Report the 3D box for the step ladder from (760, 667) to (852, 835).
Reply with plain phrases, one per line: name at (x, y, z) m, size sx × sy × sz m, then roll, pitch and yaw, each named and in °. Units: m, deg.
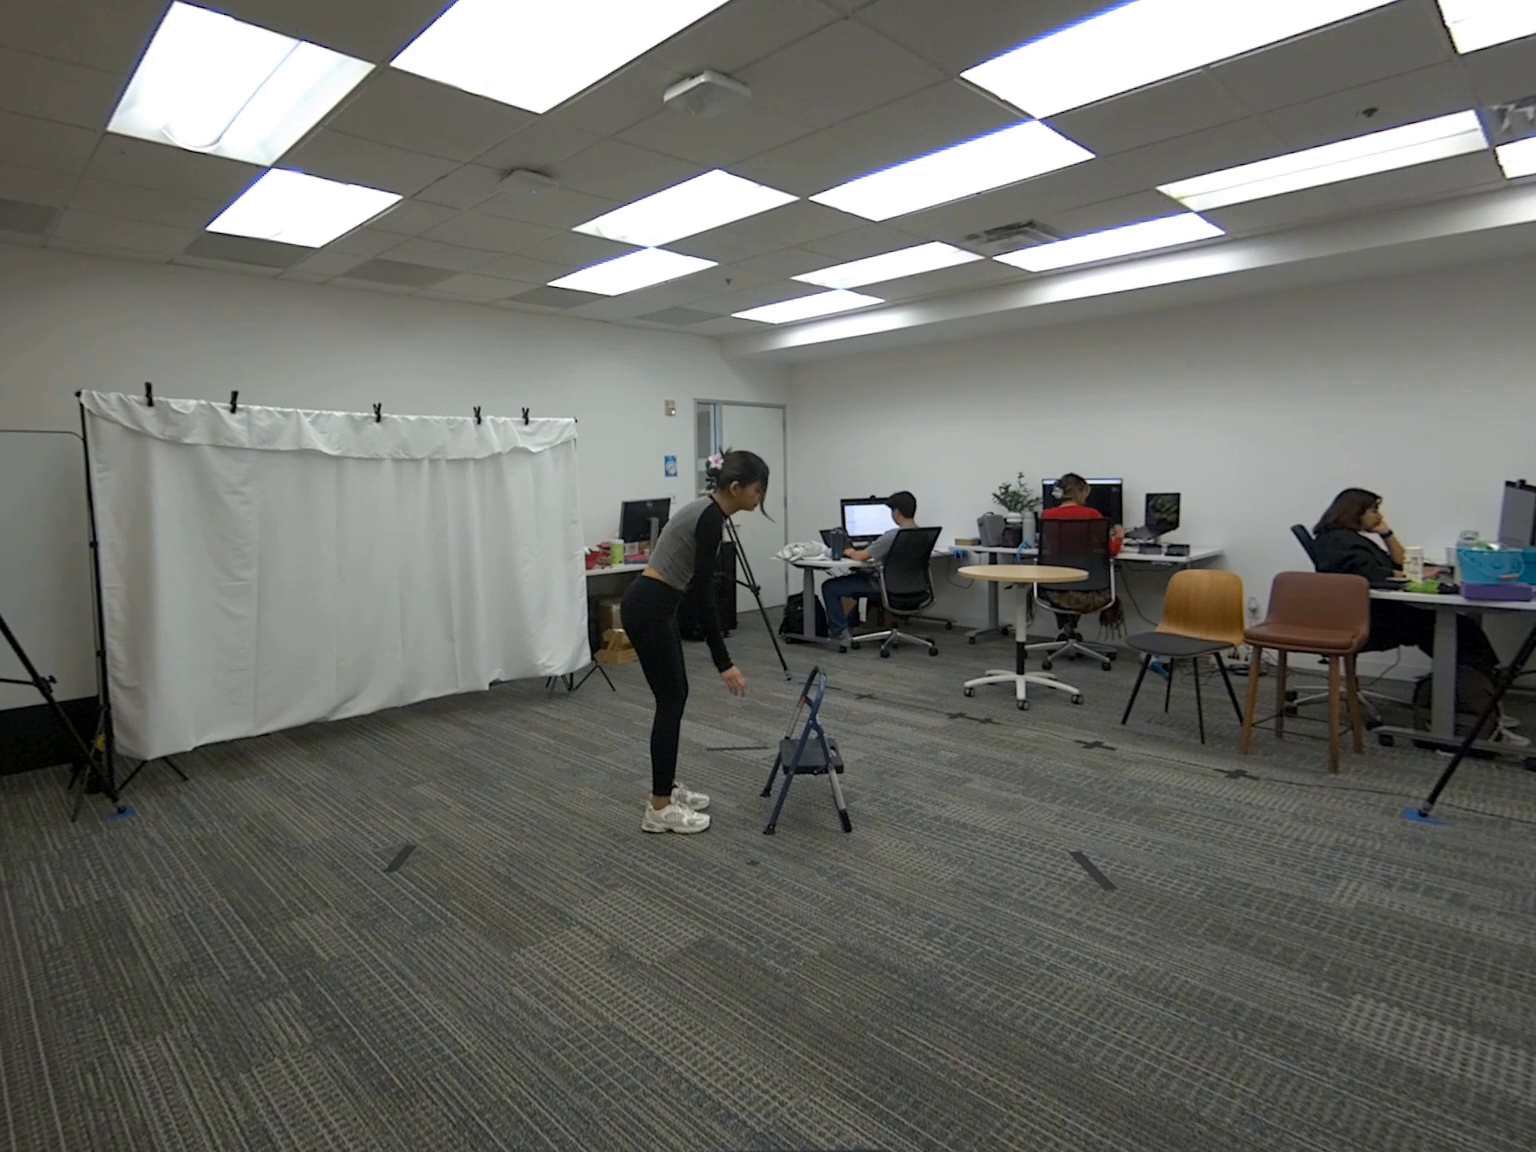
step ladder at (0.148, 0.690, 3.539) m, size 0.349 × 0.604 × 0.432 m, roll -1°, pitch 4°, yaw -1°
